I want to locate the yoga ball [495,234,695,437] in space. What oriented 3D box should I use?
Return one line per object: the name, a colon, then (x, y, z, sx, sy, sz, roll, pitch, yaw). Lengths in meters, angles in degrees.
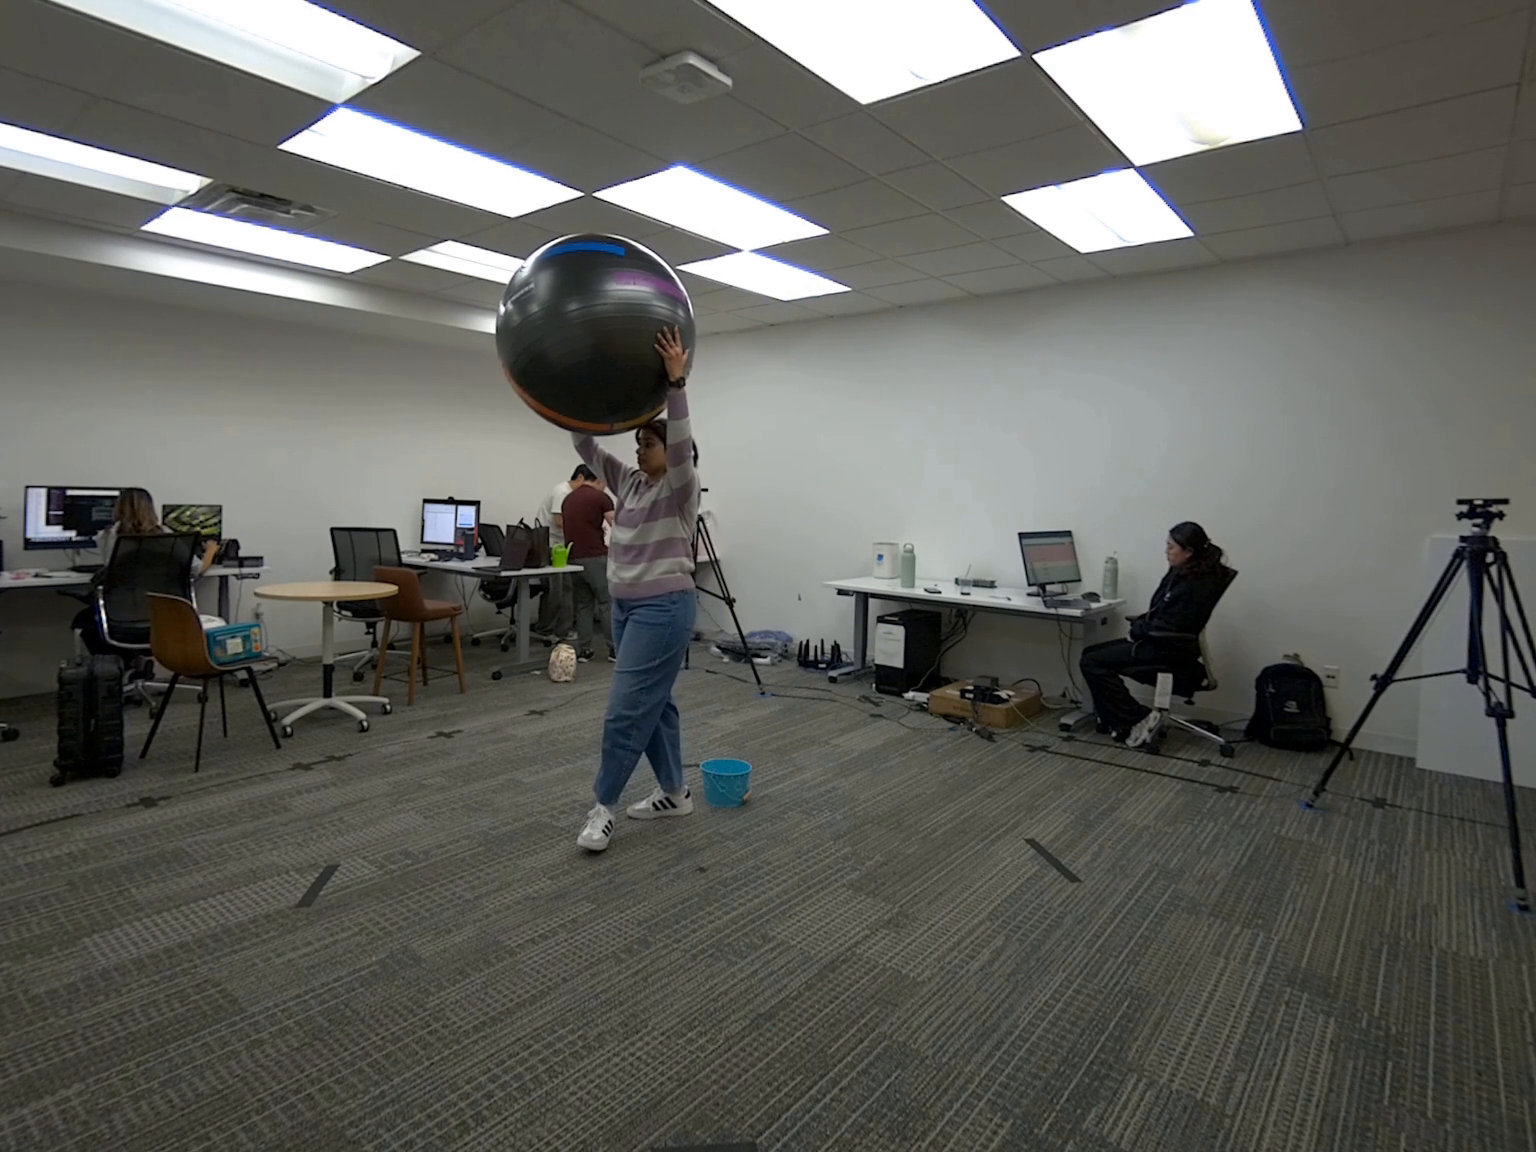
yoga ball: (-0.671, -0.922, 3.275, 0.757, 0.756, 0.761, 1, 4, -2)
